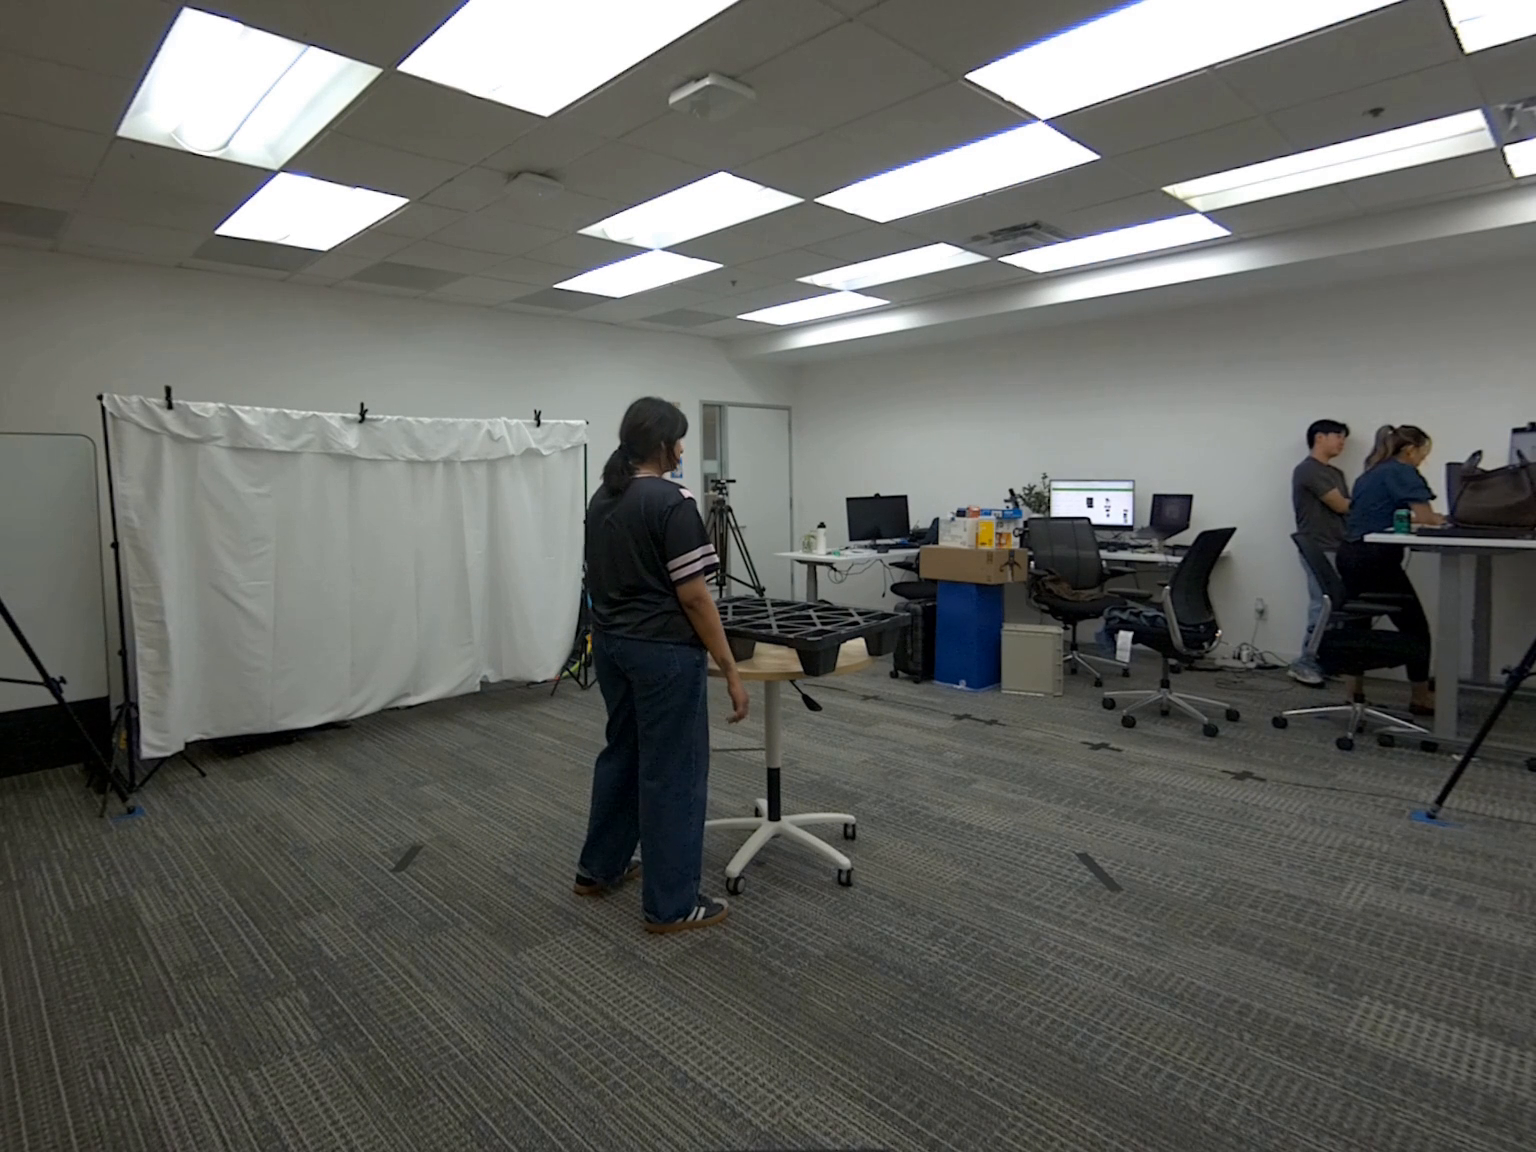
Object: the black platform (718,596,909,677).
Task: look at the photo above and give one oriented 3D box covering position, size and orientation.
[{"bbox_3d":[0.023,0.204,3.055,0.830,0.142,0.590,4,9,41],"label":"black platform"}]
